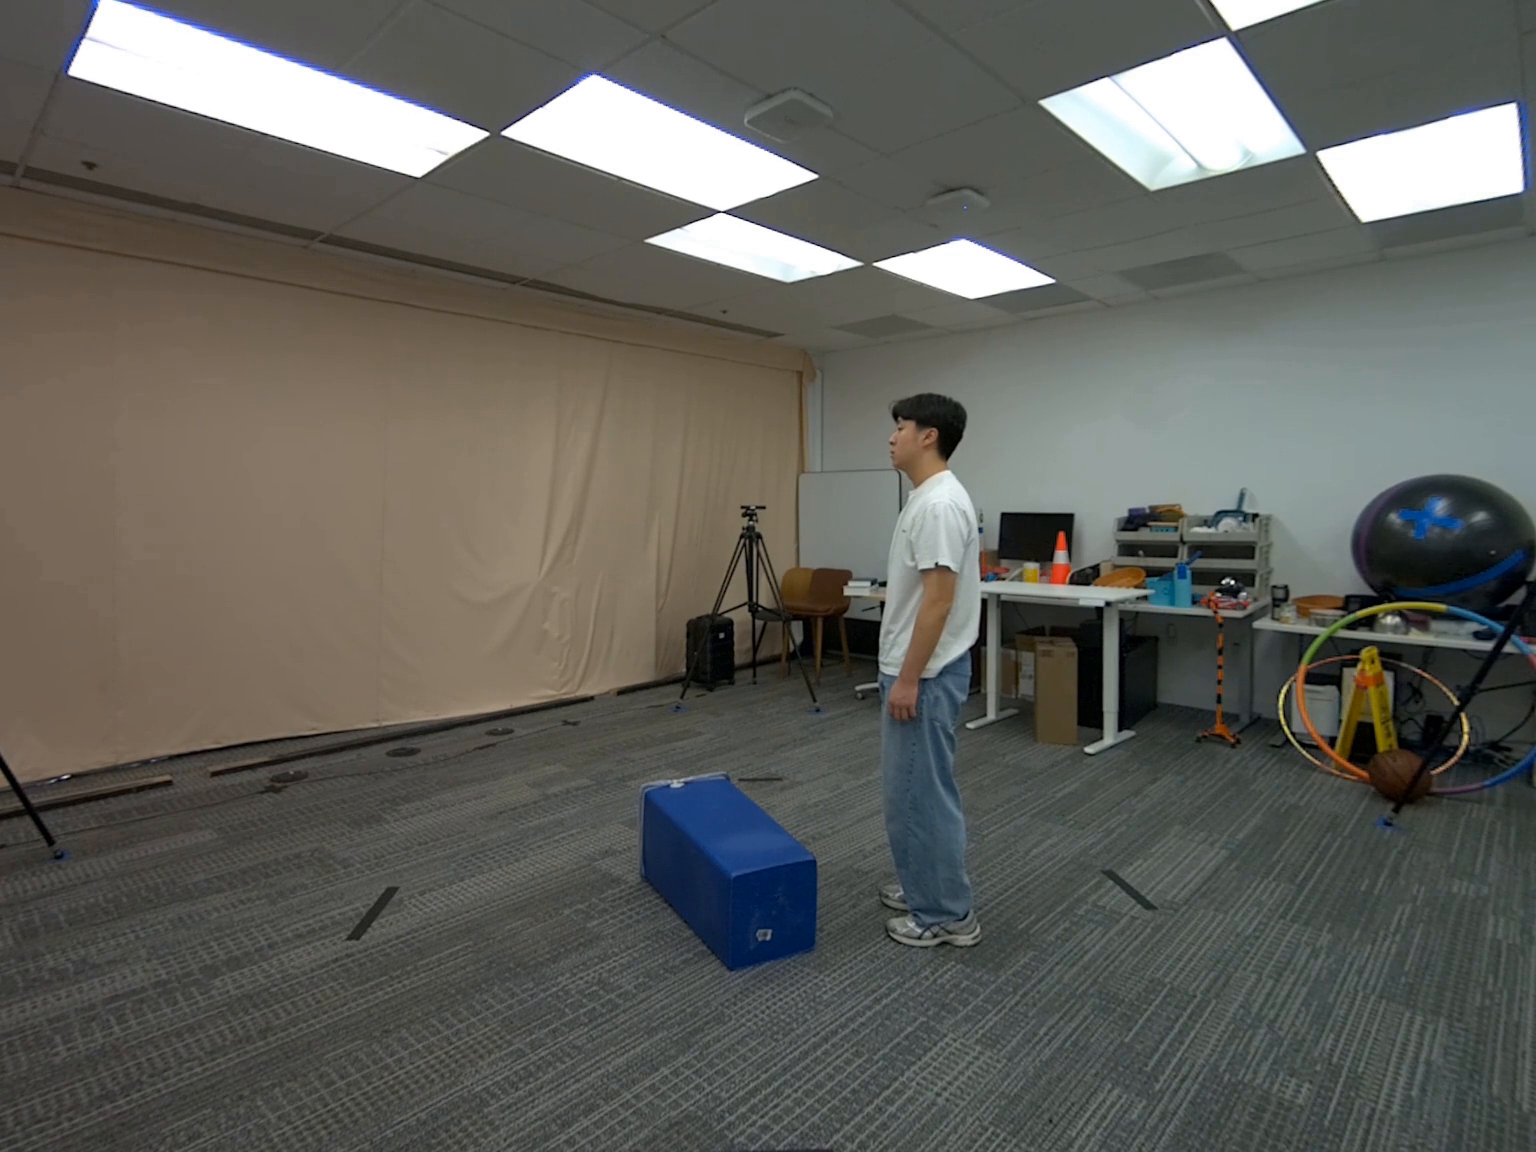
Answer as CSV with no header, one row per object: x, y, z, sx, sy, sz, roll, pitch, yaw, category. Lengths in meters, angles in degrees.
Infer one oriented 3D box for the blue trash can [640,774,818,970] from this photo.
-0.149,0.988,2.880,0.368,0.372,0.734,-2,8,-28,blue trash can
